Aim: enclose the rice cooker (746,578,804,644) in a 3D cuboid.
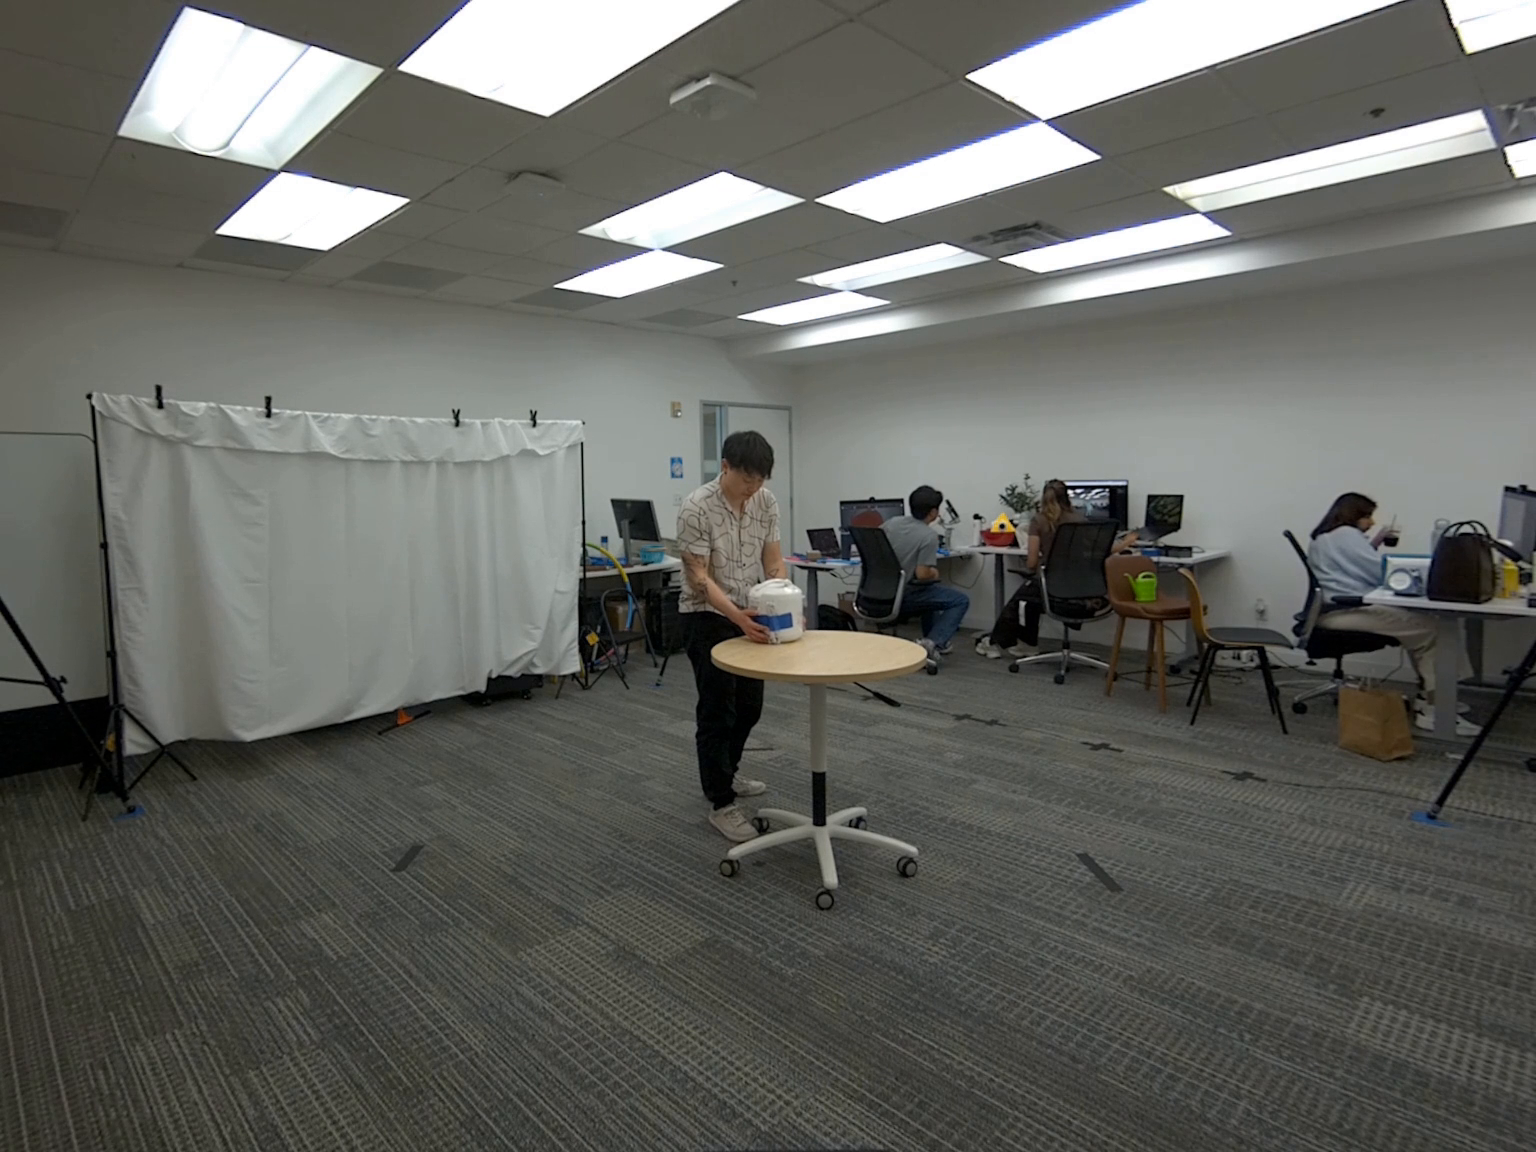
[{"bbox_3d":[0.030,0.131,3.264,0.215,0.232,0.224,-5,7,-37],"label":"rice cooker"}]
